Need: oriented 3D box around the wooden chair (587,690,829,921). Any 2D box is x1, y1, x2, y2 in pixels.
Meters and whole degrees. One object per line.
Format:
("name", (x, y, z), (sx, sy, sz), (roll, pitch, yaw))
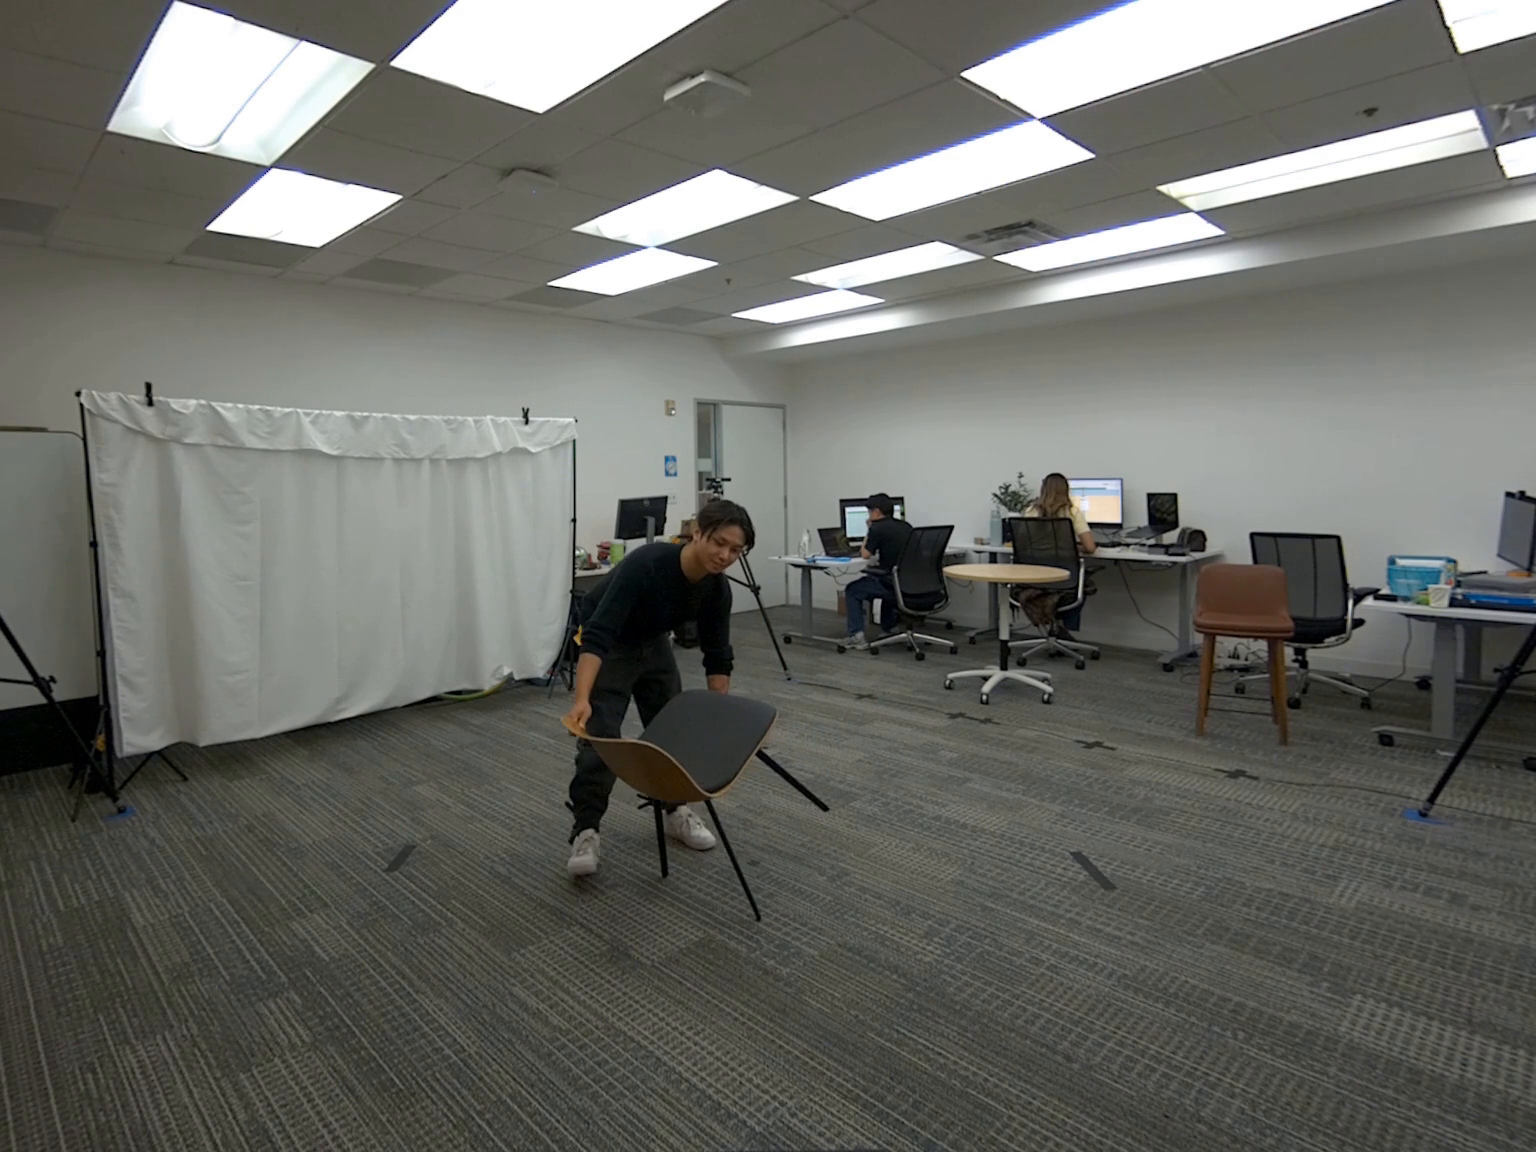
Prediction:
("wooden chair", (-0.229, 0.593, 2.792), (0.493, 0.849, 0.524), (3, 44, 42))
